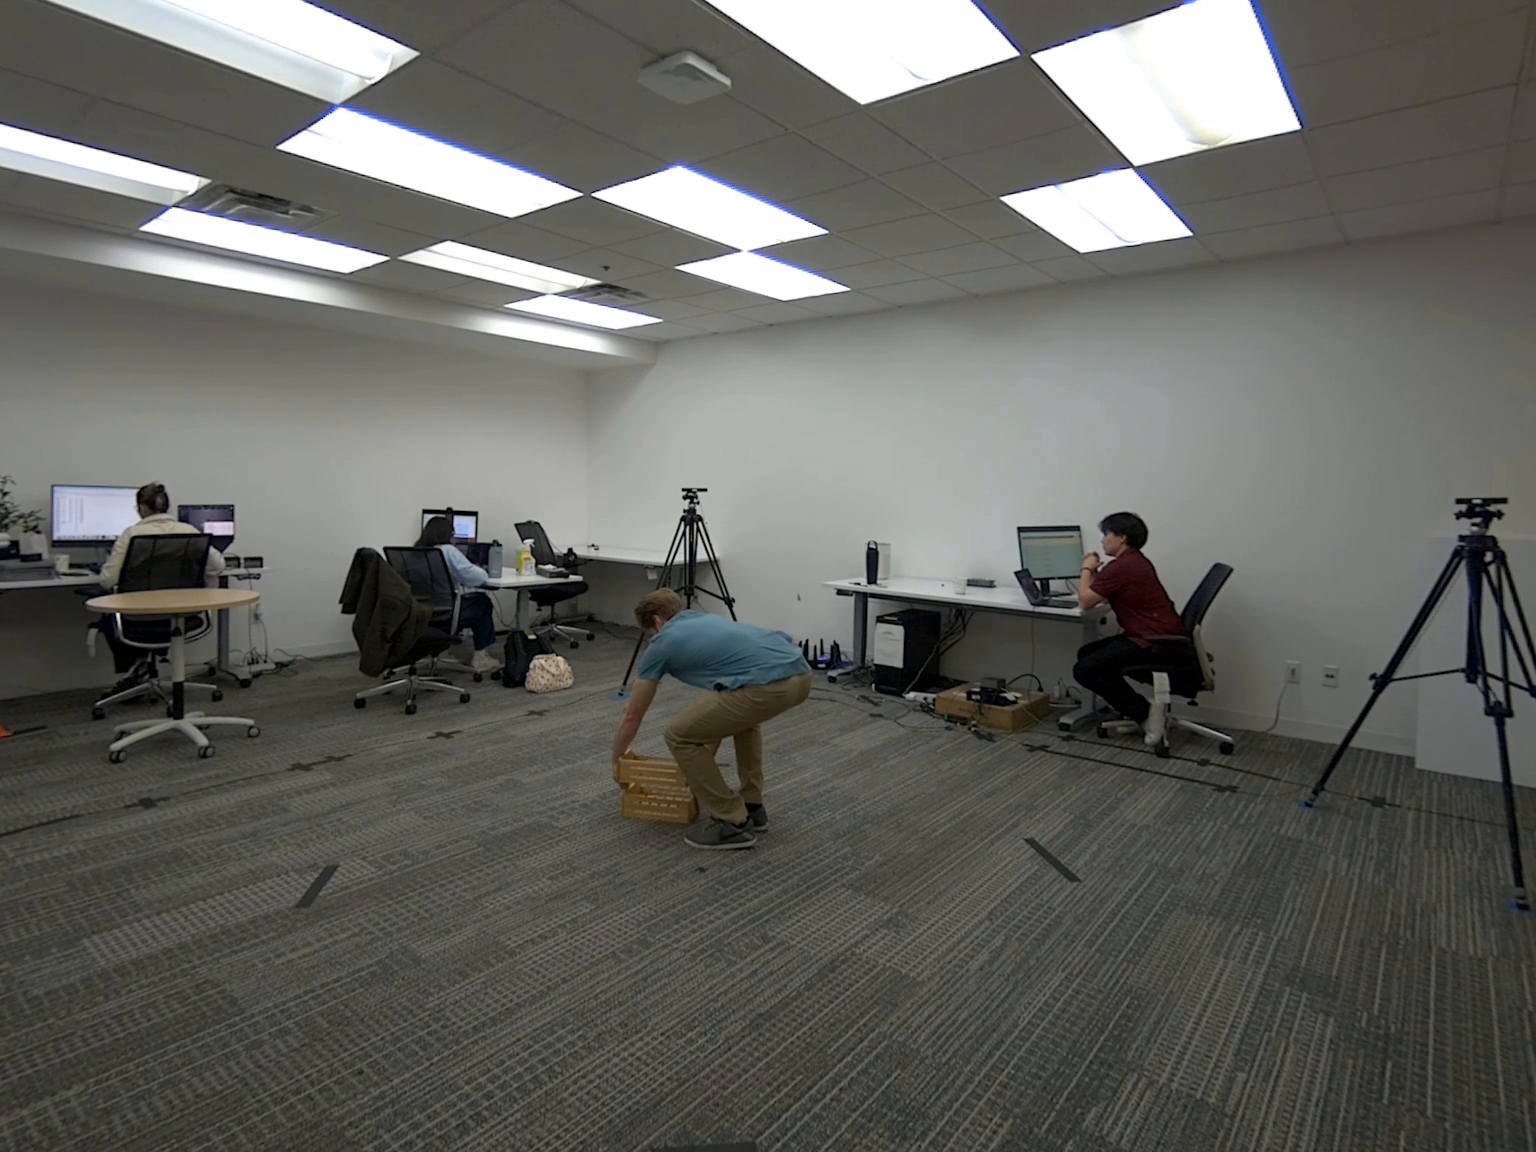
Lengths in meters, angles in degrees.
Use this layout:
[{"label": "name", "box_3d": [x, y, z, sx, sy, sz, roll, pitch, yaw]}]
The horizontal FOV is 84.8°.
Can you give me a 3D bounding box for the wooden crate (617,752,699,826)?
[{"label": "wooden crate", "box_3d": [-0.469, 0.883, 3.675, 0.329, 0.273, 0.299, 2, 3, 11]}]
